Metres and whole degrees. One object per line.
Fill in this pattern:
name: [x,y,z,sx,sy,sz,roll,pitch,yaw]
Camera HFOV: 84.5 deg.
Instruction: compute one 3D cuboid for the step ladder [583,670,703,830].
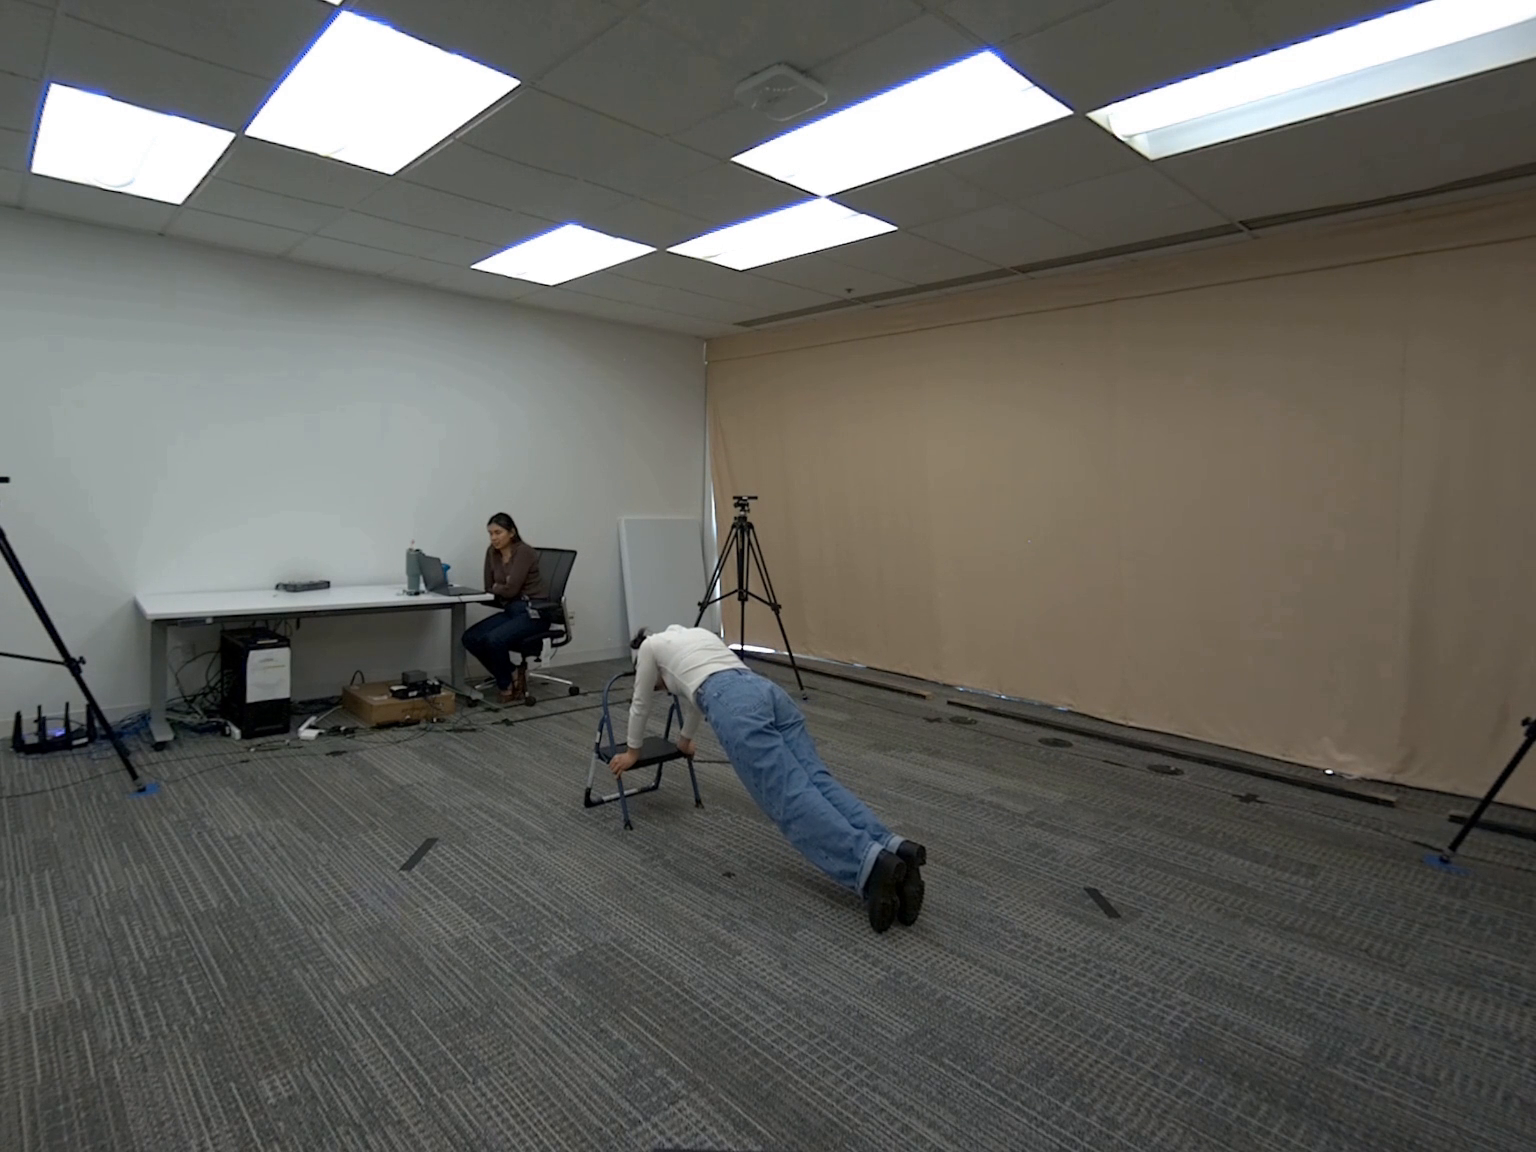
step ladder: [-0.558,0.737,3.755,0.358,0.605,0.421,5,5,45]
